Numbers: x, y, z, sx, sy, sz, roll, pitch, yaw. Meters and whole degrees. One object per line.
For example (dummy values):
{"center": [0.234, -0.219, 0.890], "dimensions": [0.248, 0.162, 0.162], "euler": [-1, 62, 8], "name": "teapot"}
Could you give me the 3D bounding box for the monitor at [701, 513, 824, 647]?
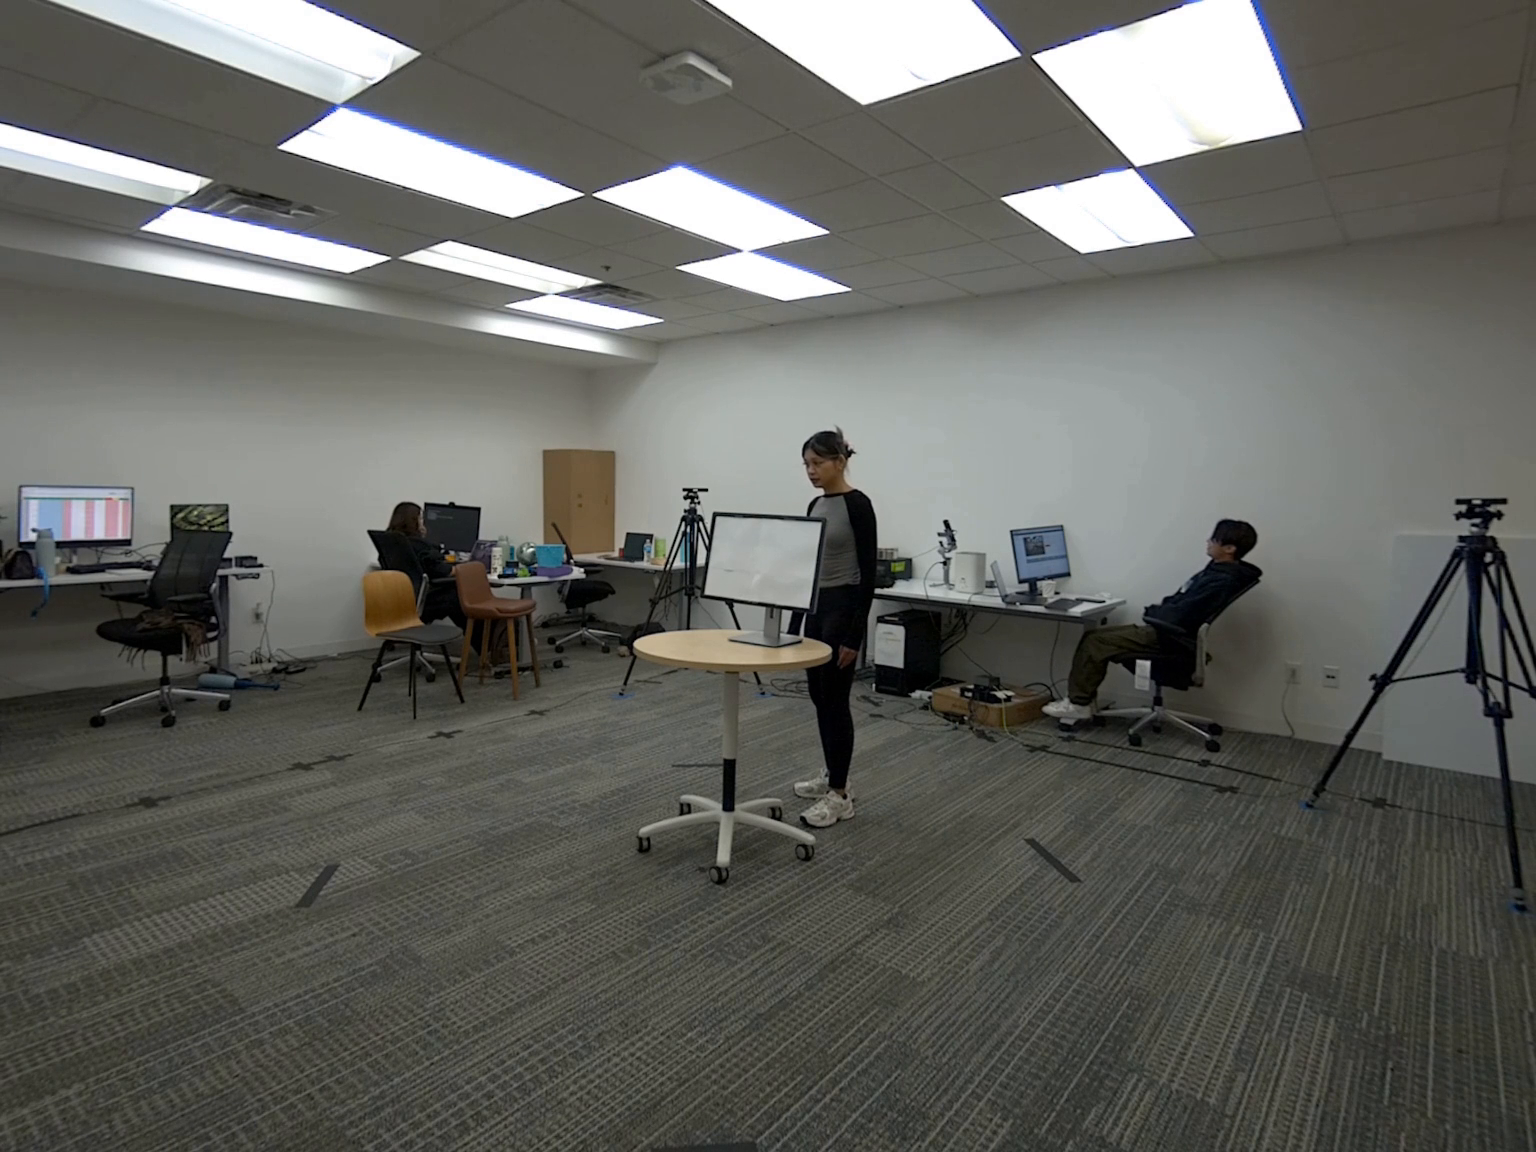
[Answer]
{"center": [-0.012, 0.013, 3.392], "dimensions": [0.557, 0.520, 0.182], "euler": [5, 7, 37], "name": "monitor"}
